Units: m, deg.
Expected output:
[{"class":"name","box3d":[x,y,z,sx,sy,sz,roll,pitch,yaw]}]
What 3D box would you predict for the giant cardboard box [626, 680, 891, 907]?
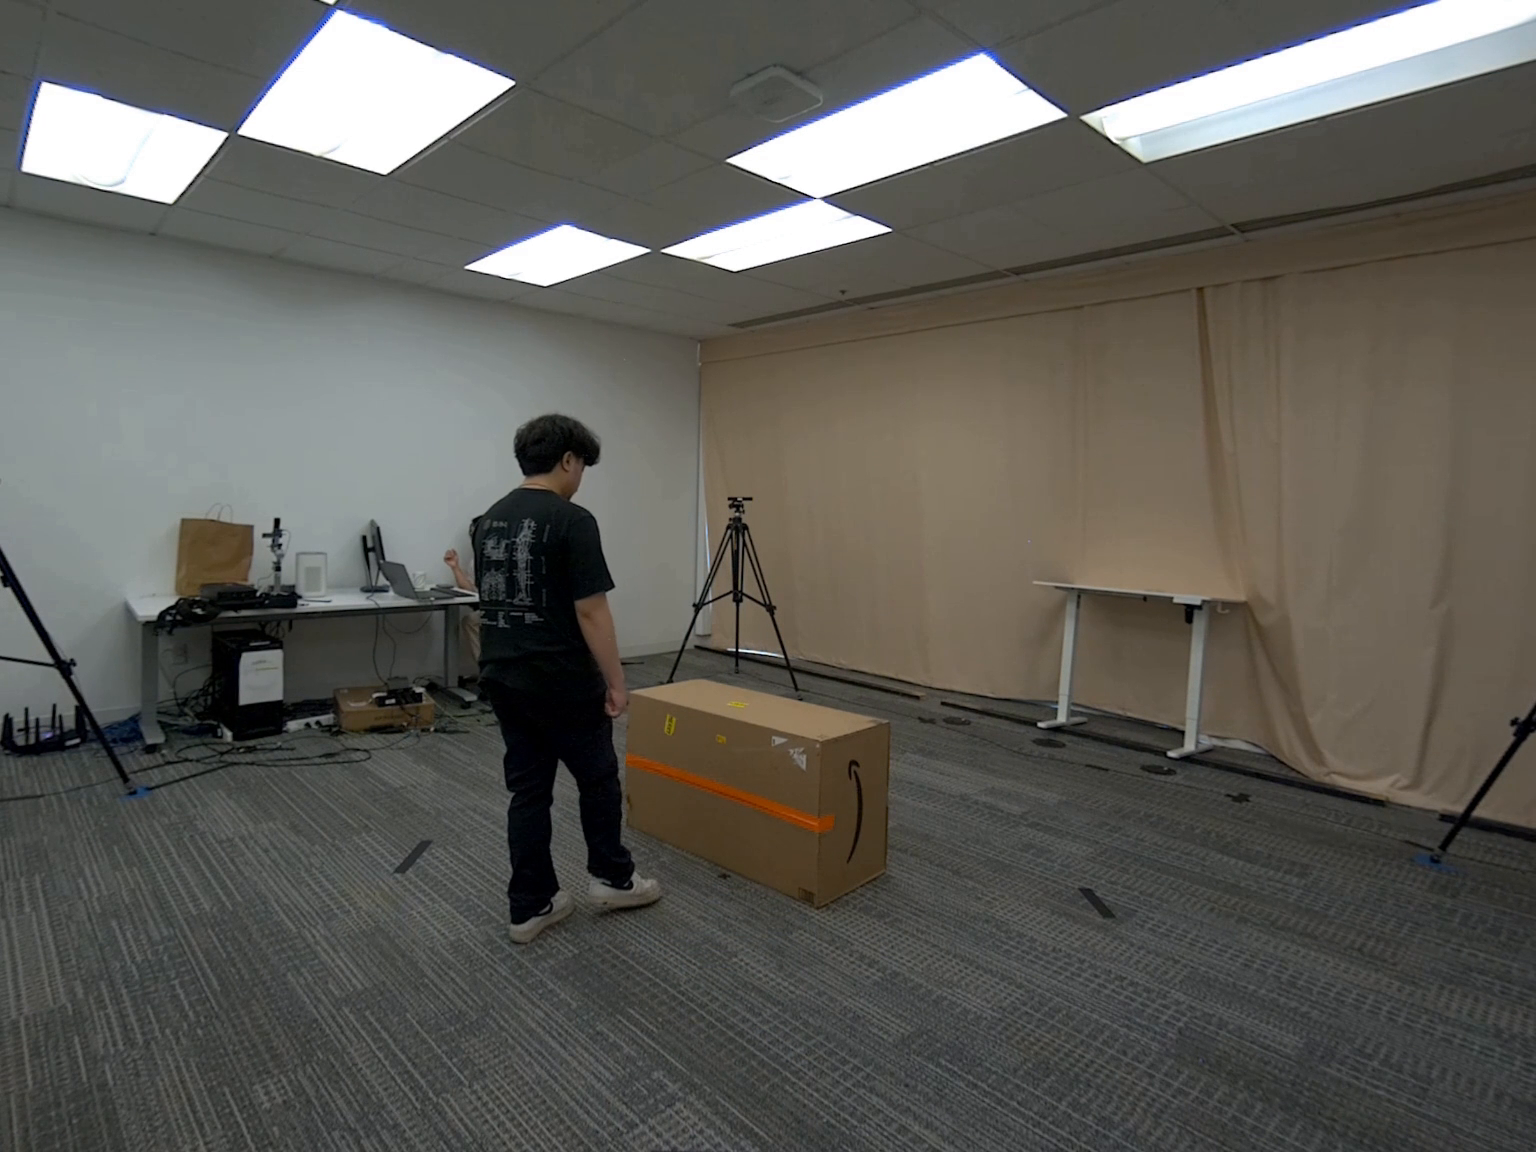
[{"class":"giant cardboard box","box3d":[-0.077,0.801,3.353,1.053,0.582,0.437,5,6,42]}]
